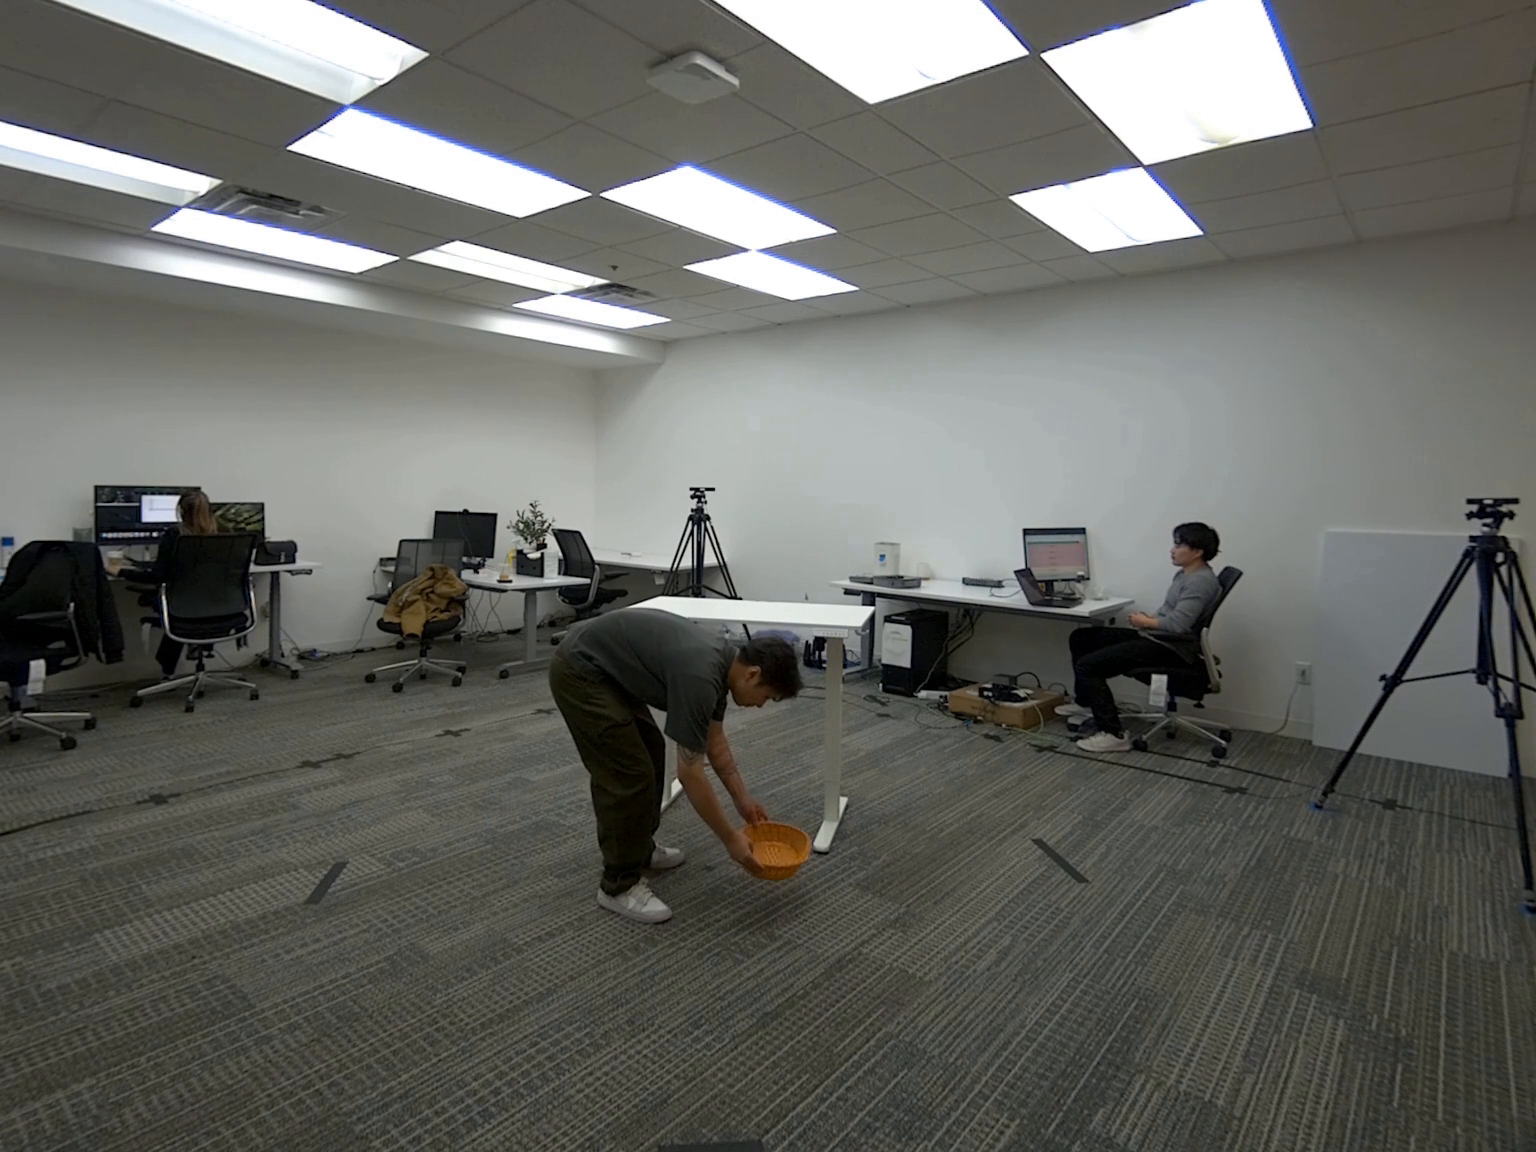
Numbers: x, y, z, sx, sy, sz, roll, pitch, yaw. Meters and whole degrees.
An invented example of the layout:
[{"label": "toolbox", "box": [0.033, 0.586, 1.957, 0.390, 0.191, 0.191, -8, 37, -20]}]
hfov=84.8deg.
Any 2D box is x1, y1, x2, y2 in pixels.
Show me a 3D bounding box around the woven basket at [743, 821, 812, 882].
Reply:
[{"label": "woven basket", "box": [0.002, 0.919, 2.840, 0.255, 0.073, 0.348, 7, 6, 8]}]
